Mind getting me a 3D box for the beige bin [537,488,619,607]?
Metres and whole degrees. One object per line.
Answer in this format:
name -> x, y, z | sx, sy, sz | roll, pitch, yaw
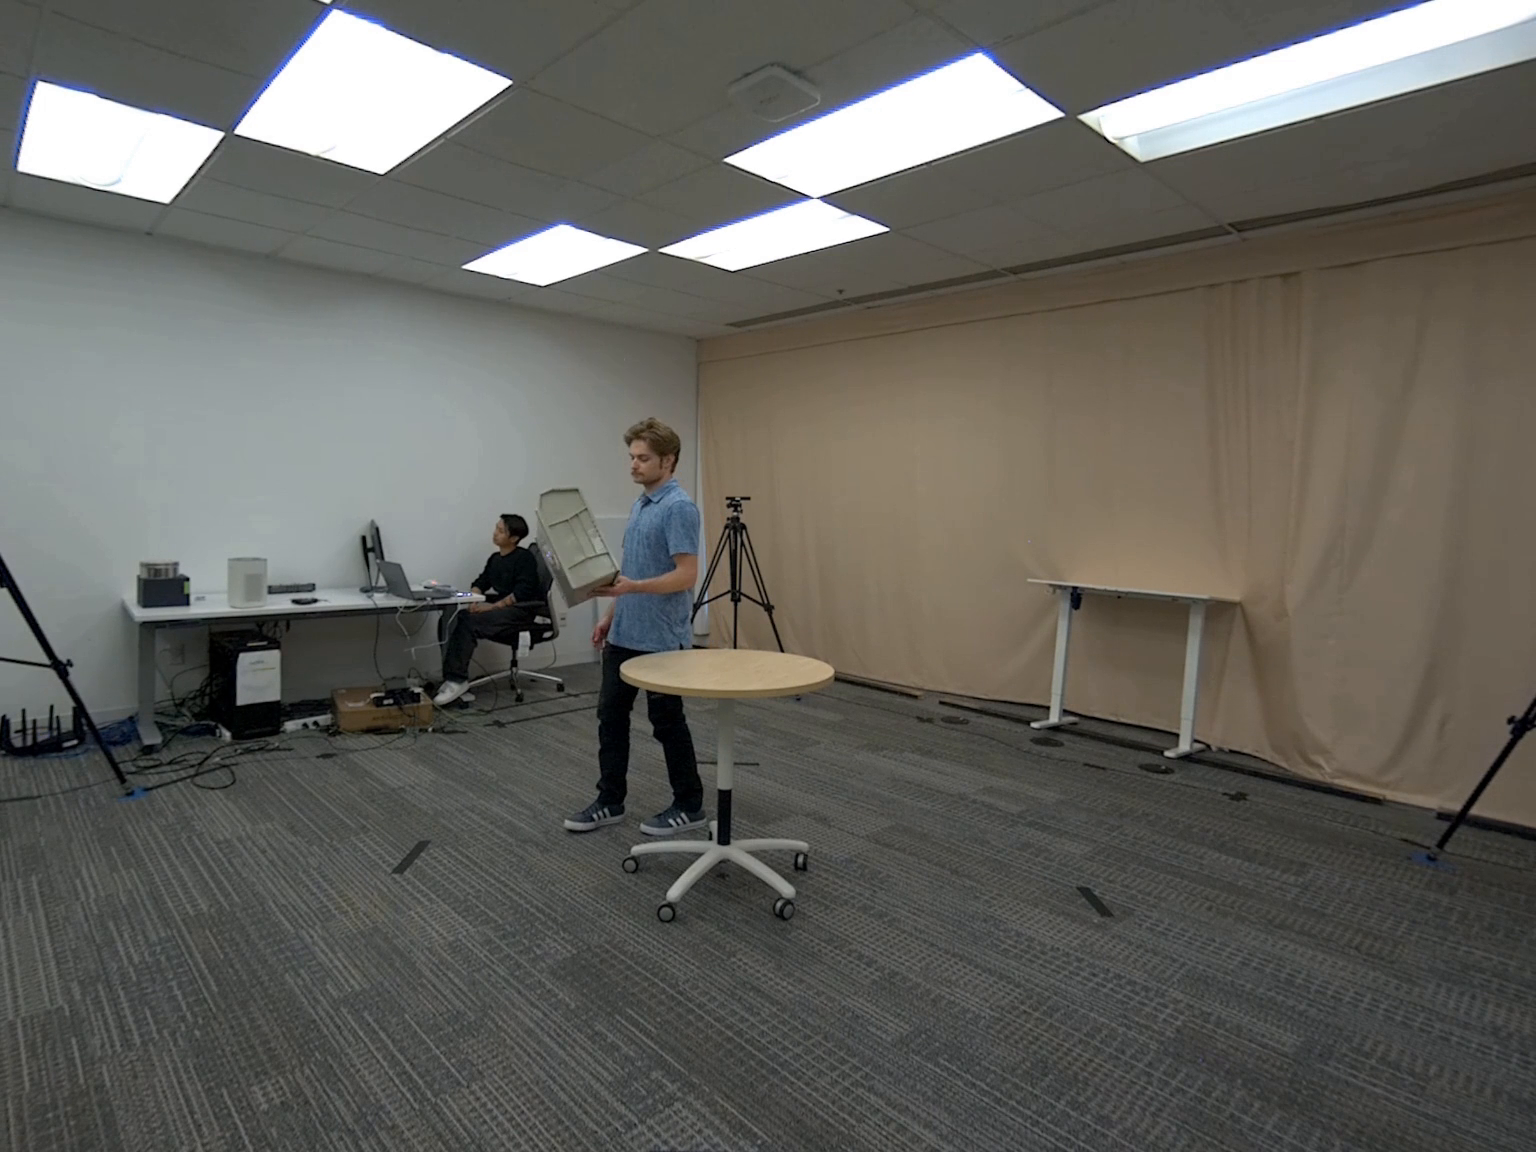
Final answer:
beige bin -> -0.743, -0.101, 3.142 | 0.187, 0.380, 0.423 | -23, -6, -21
